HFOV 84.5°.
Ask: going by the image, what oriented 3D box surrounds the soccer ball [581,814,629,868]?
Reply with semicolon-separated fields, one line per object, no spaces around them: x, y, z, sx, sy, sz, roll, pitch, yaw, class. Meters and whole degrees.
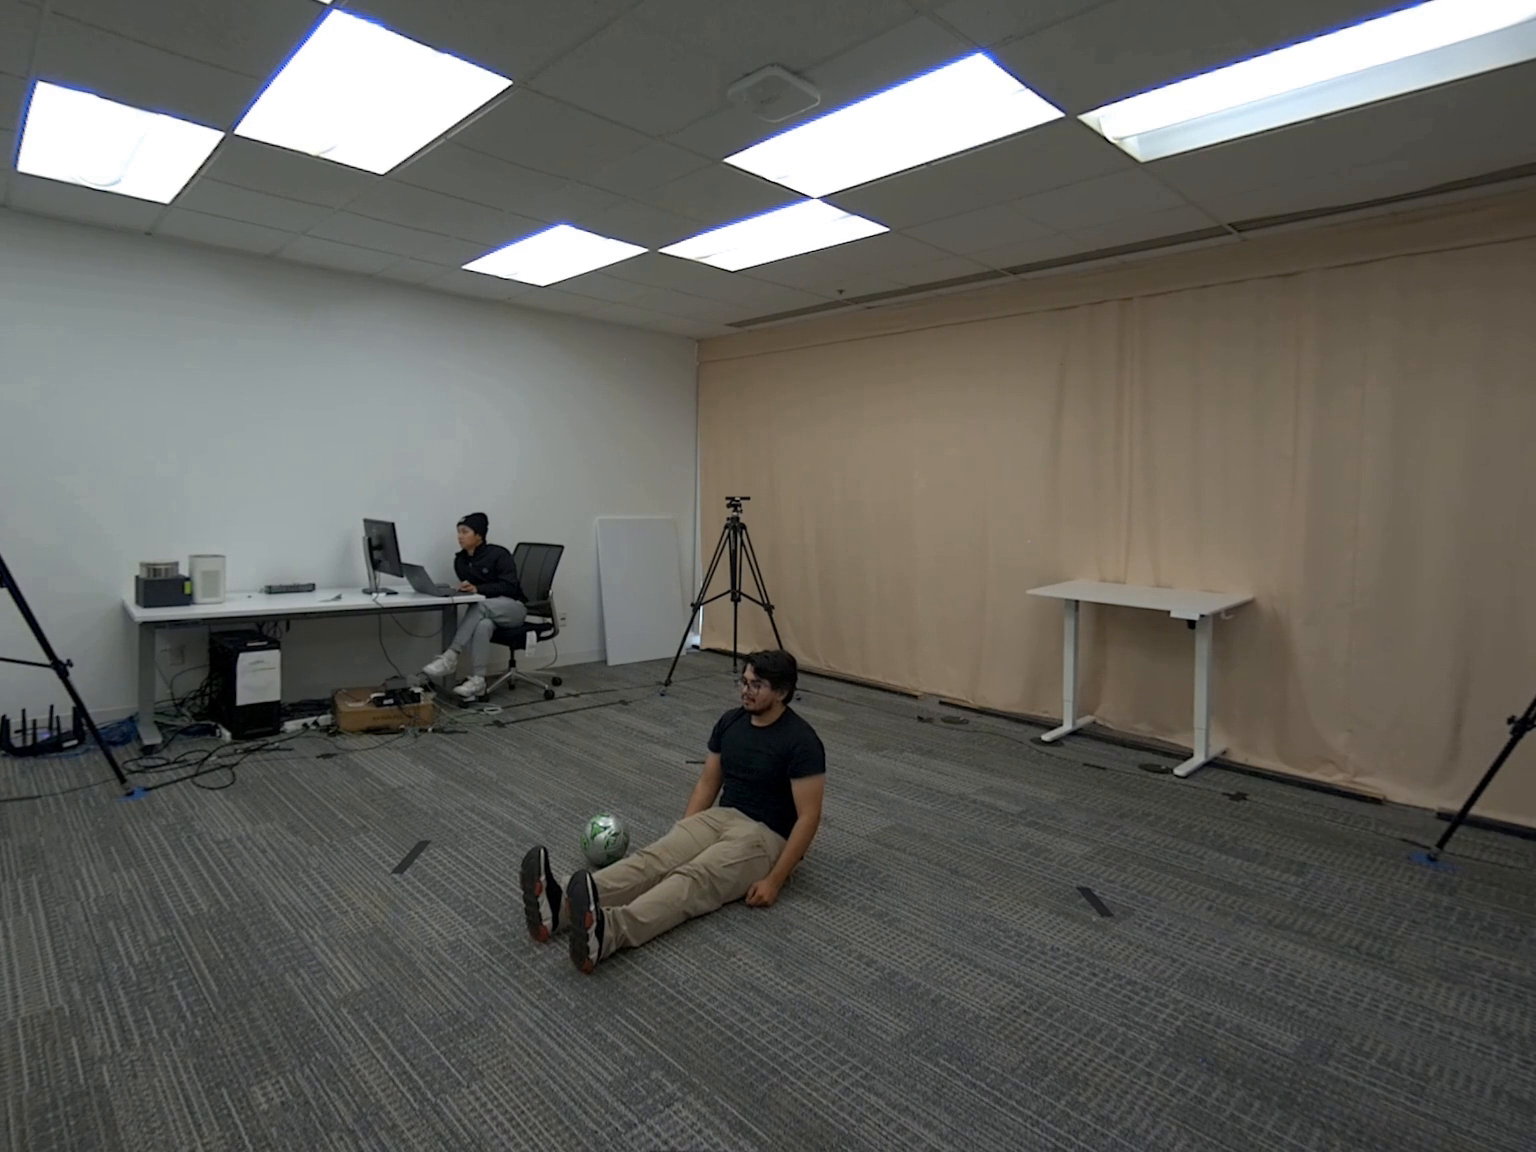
-0.616;0.986;3.185;0.187;0.187;0.188;1;5;-1;soccer ball
